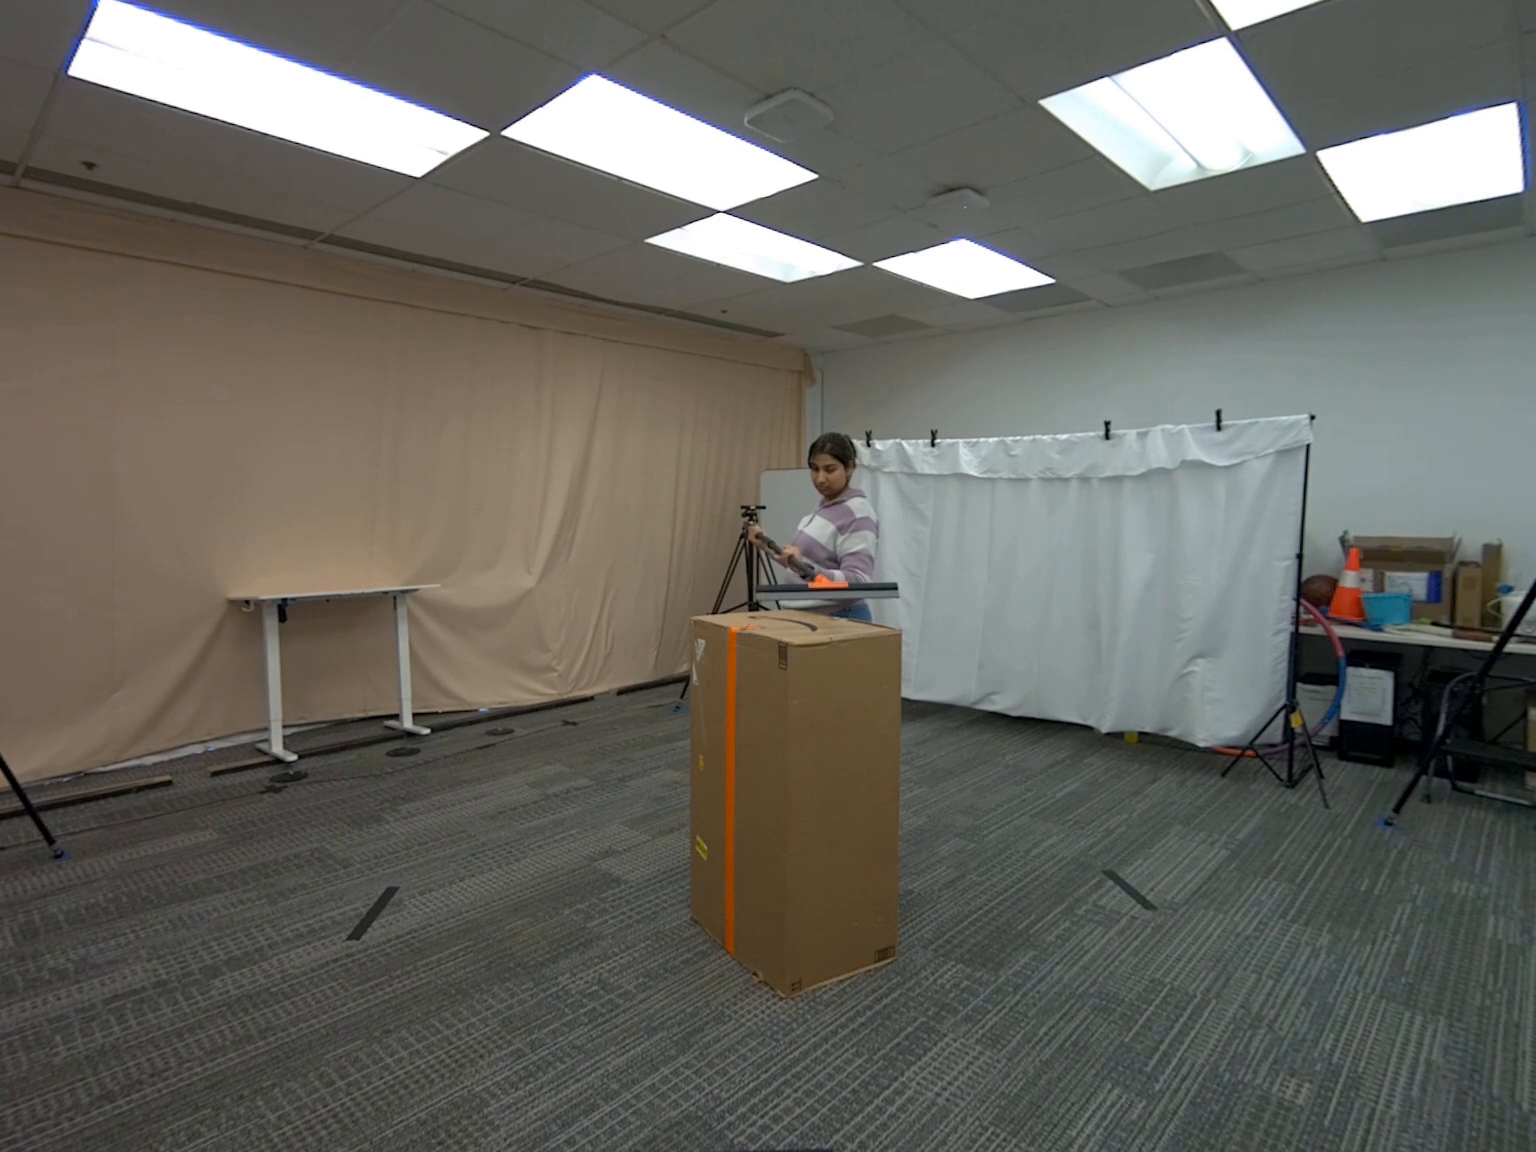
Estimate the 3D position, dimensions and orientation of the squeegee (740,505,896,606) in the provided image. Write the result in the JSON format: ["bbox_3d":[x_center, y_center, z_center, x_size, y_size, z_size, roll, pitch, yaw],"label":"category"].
[{"bbox_3d":[0.025,-0.111,3.241,0.434,0.052,1.559,-1,12,-8],"label":"squeegee"}]
